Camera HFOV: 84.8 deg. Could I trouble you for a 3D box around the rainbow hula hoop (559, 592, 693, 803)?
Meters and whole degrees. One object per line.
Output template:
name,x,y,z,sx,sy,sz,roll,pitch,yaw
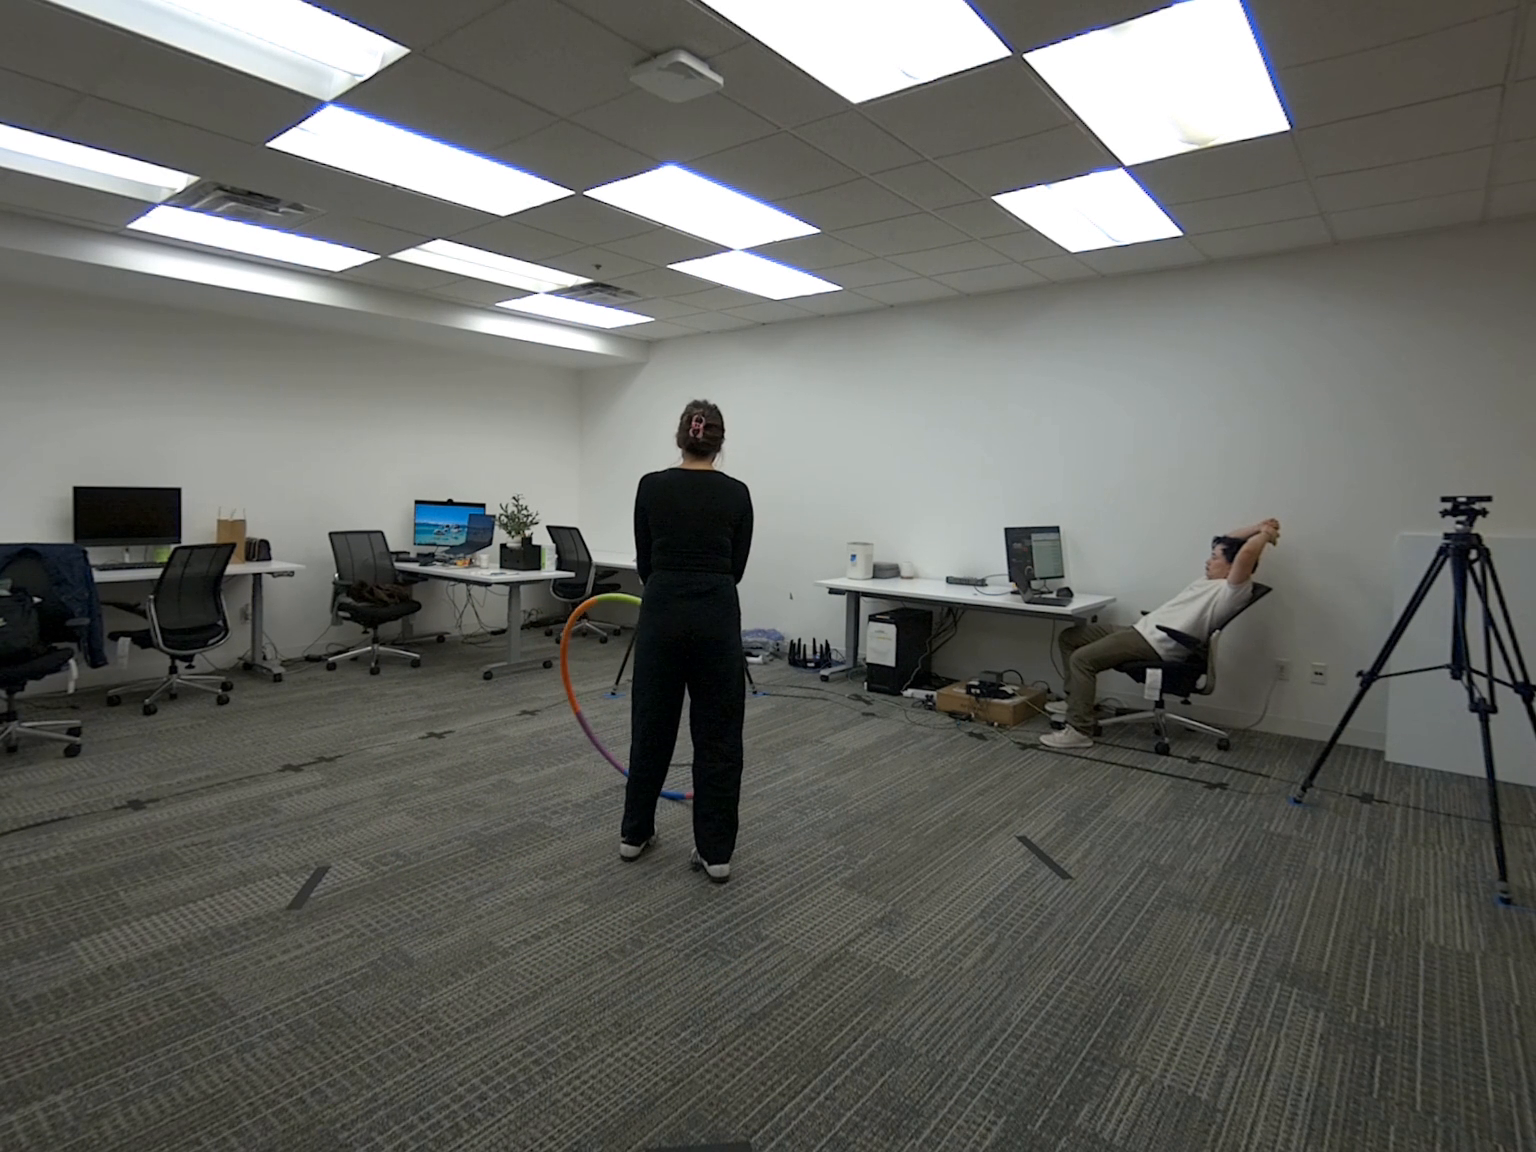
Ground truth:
rainbow hula hoop,-0.545,0.536,3.712,1.010,0.960,0.035,4,21,36
